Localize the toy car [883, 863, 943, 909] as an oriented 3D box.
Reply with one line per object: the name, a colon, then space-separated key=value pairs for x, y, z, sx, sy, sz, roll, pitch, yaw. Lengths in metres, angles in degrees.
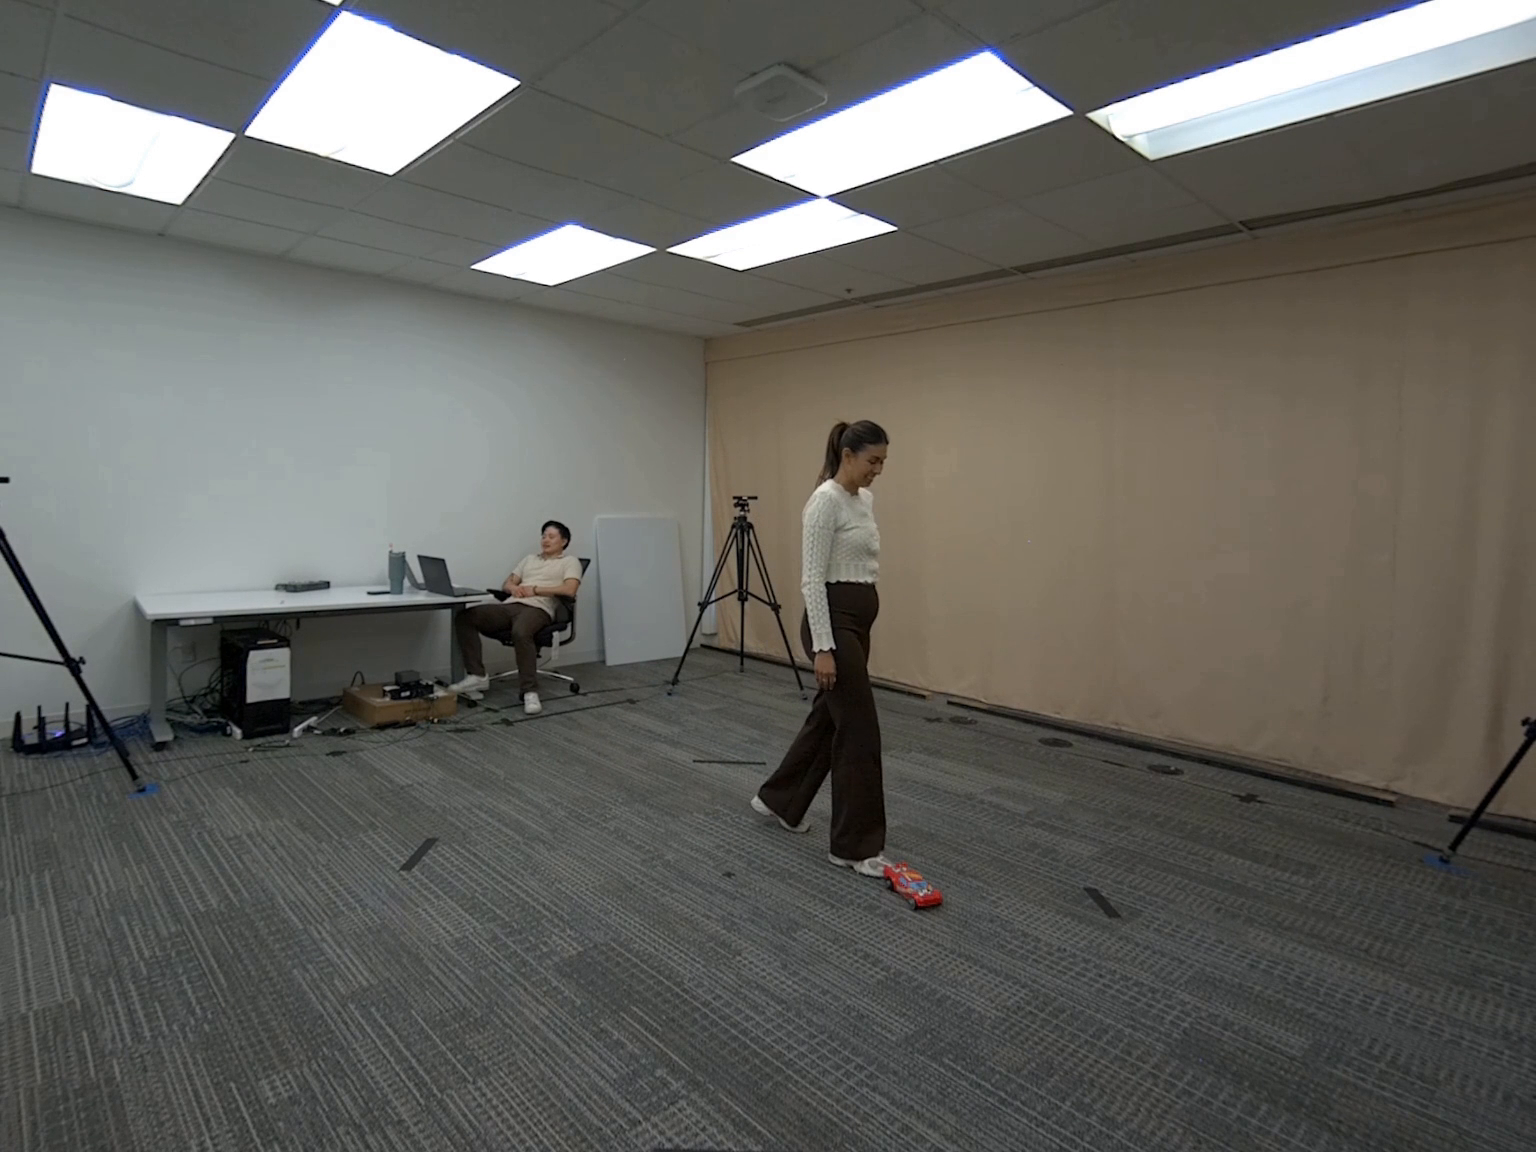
toy car: x=0.498 y=1.096 z=2.981 sx=0.128 sy=0.082 sz=0.261 roll=2 pitch=15 yaw=-23
